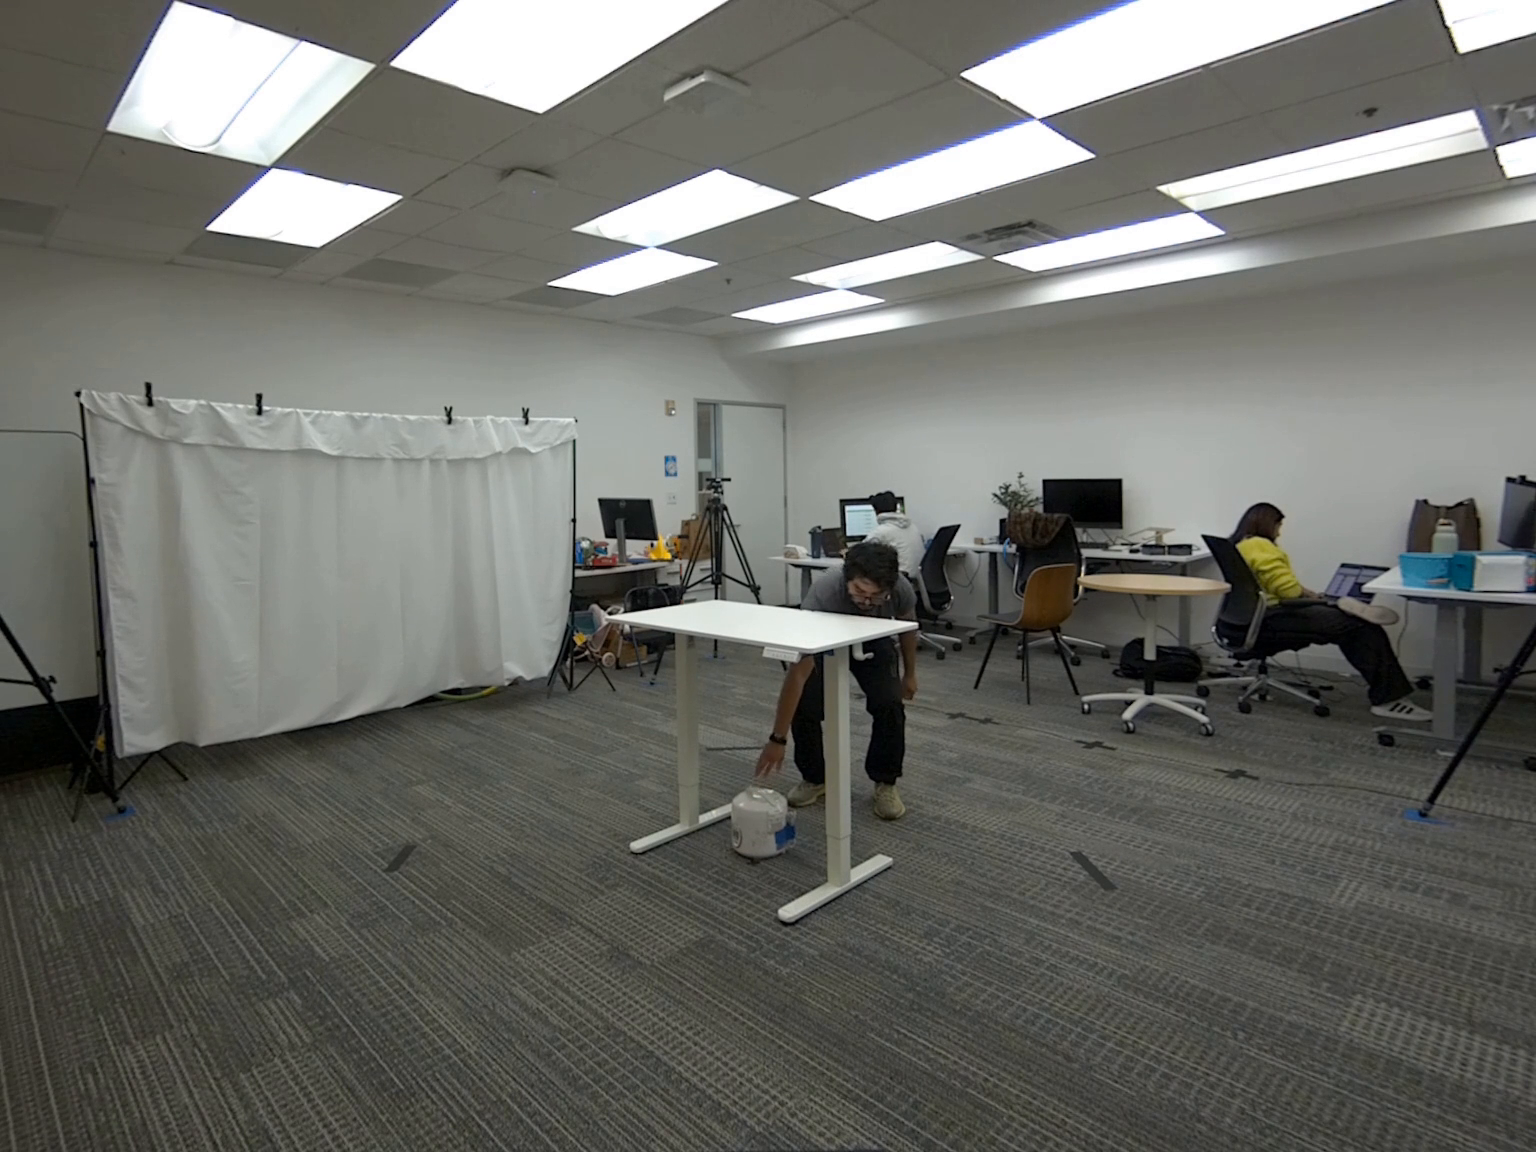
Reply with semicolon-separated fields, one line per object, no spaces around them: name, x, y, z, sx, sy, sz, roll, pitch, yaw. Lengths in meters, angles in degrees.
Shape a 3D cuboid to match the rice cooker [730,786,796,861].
rice cooker;-0.030;0.917;3.203;0.212;0.232;0.227;-2;5;-34
